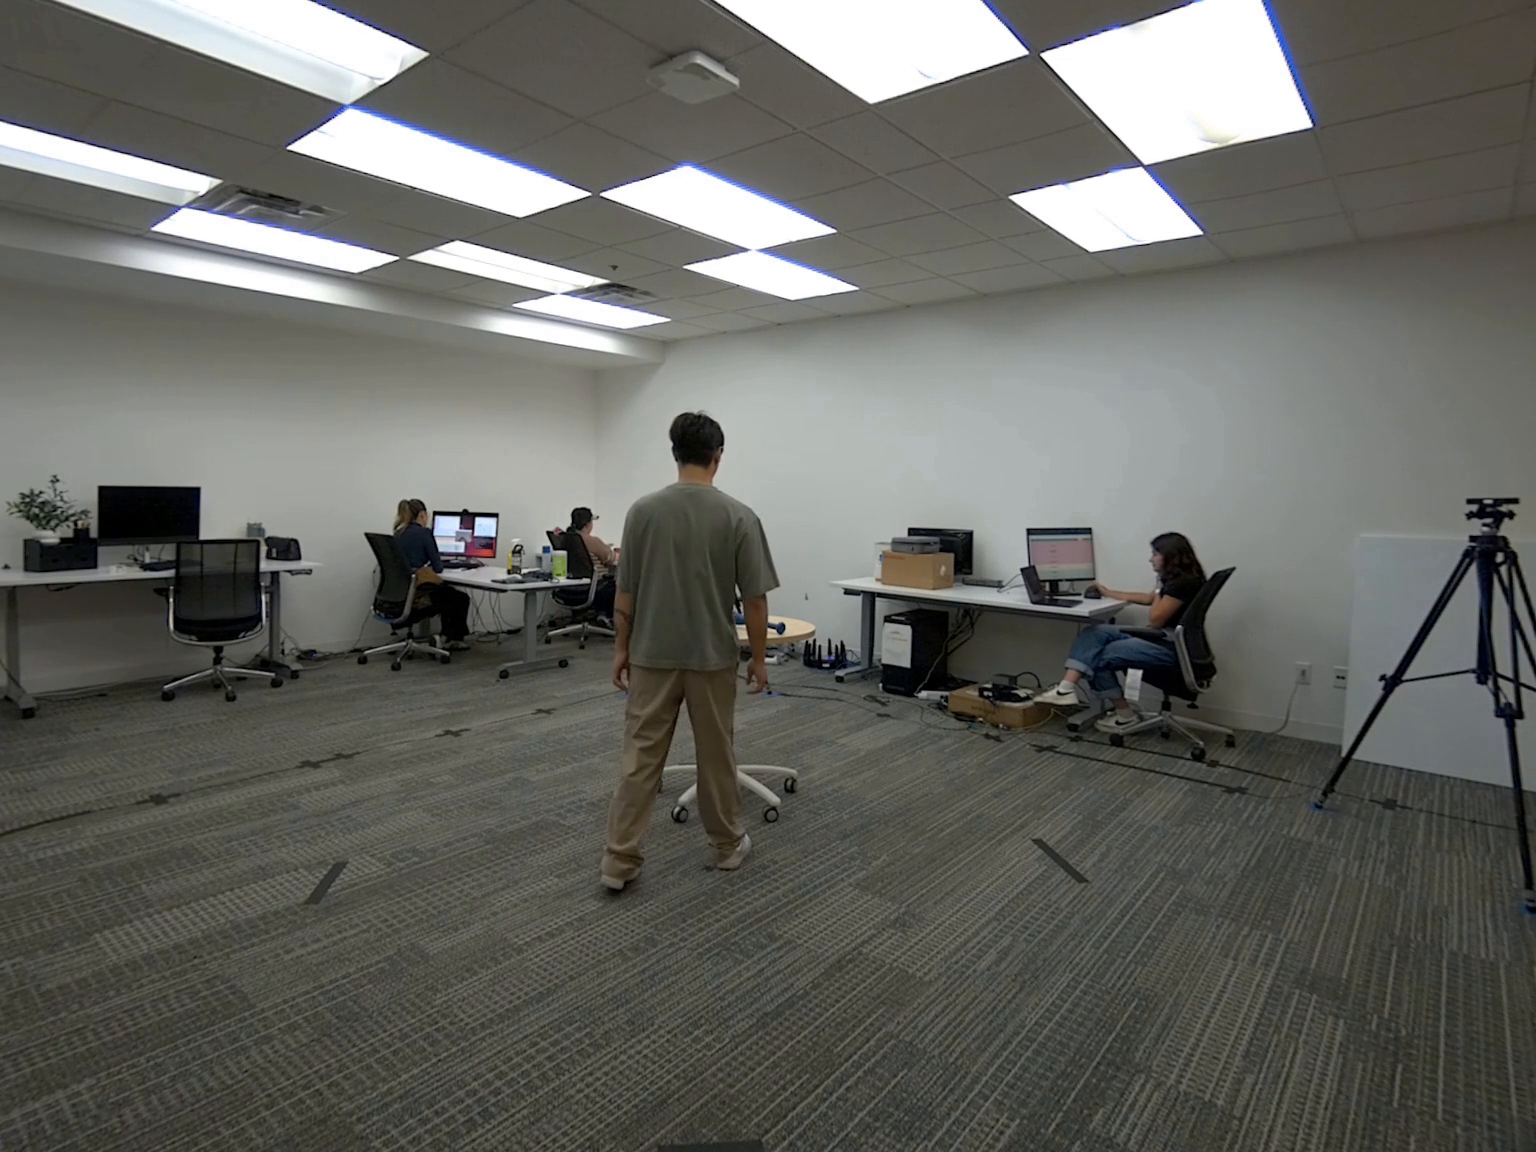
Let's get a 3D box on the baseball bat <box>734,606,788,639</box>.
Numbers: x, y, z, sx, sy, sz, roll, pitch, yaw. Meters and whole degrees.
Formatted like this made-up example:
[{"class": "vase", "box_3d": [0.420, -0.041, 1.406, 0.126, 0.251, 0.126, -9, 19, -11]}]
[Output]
[{"class": "baseball bat", "box_3d": [-0.159, 0.183, 3.727, 0.562, 0.088, 0.086, 8, 8, 41]}]
